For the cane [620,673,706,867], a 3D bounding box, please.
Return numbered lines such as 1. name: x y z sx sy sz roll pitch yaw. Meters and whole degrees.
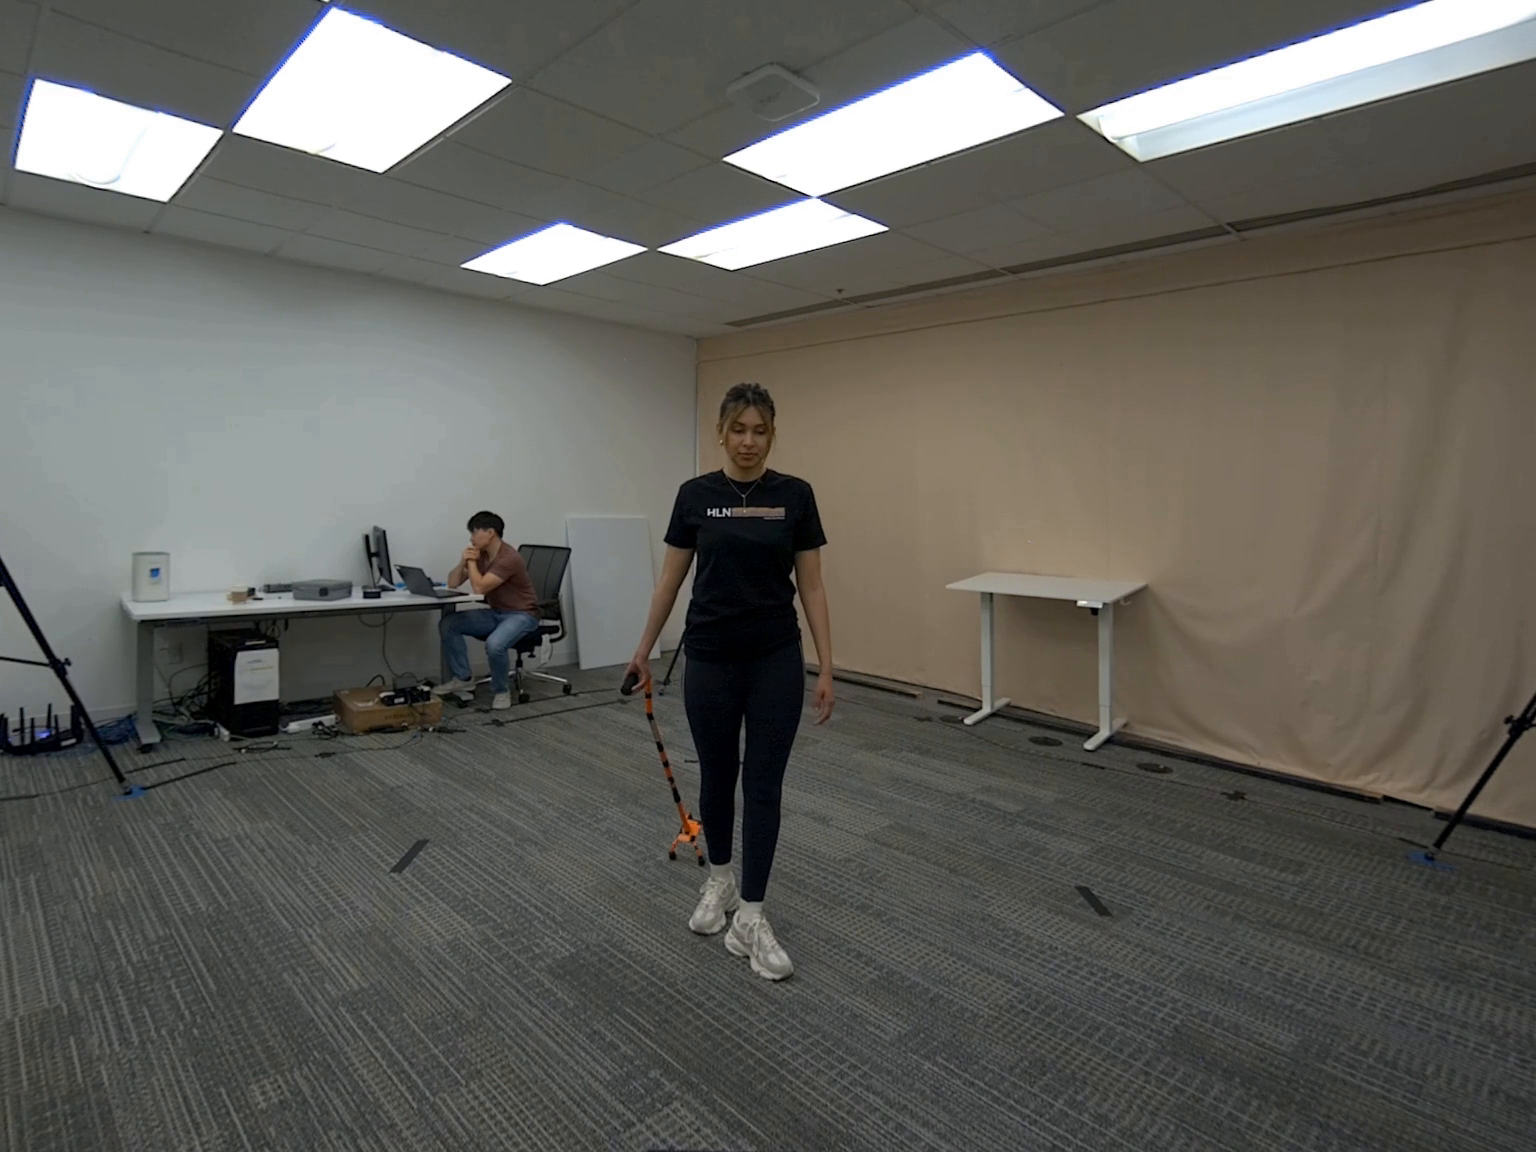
1. cane: -0.357 0.671 3.027 0.154 0.886 0.208 3 36 19
